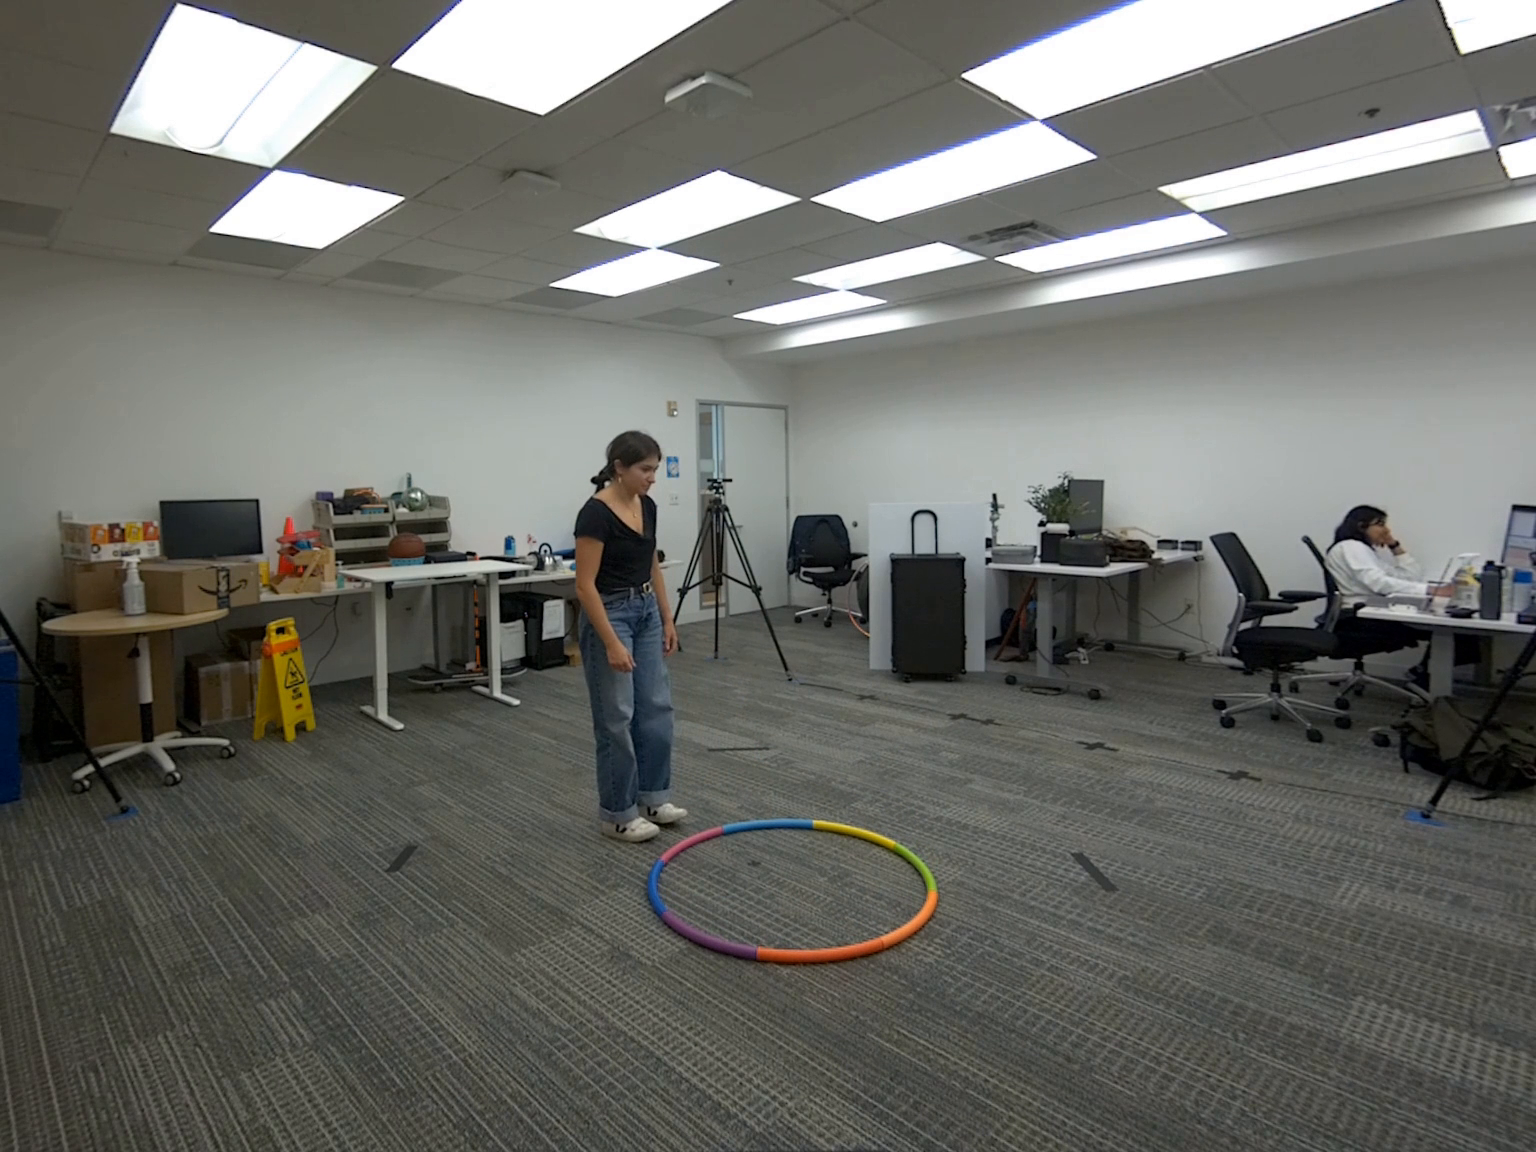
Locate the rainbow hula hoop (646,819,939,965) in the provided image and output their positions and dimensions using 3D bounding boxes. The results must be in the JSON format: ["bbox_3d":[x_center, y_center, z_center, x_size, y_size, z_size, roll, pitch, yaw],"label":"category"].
[{"bbox_3d":[0.074,1.033,2.948,0.978,0.035,0.984,-1,7,-2],"label":"rainbow hula hoop"}]
